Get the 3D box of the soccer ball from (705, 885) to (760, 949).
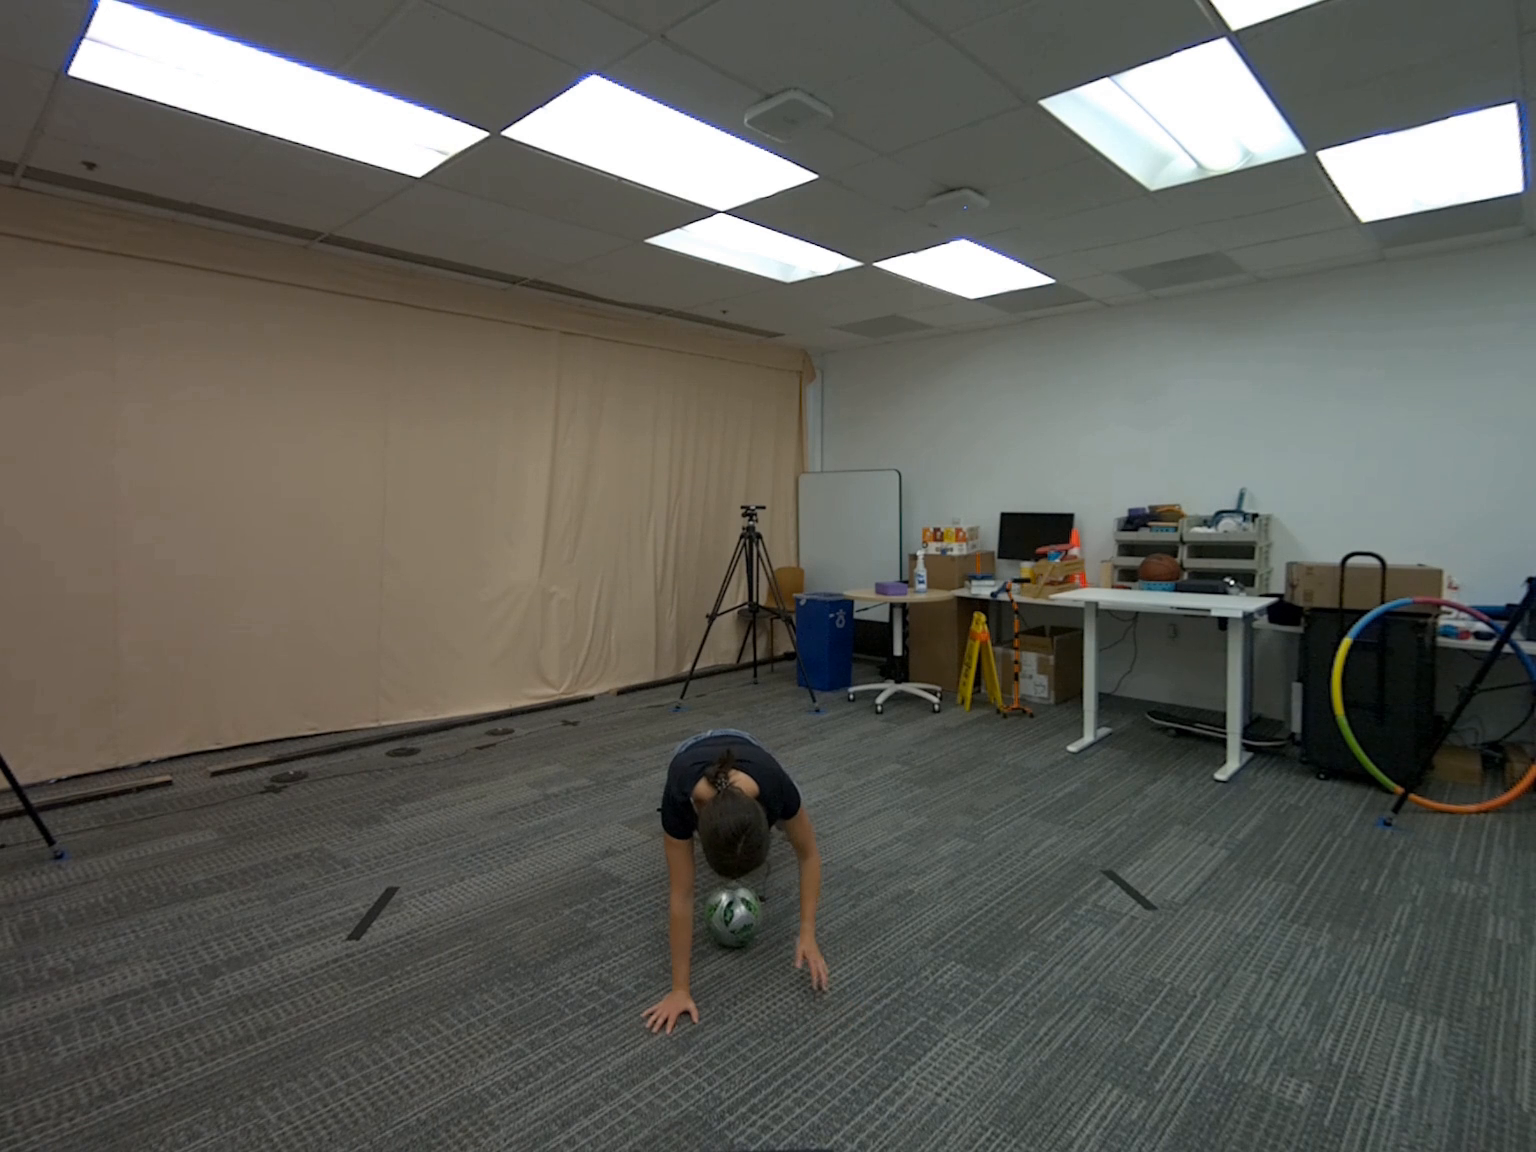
[{"bbox_3d":[-0.103,1.086,2.672,0.187,0.187,0.188,0,4,-2],"label":"soccer ball"}]
